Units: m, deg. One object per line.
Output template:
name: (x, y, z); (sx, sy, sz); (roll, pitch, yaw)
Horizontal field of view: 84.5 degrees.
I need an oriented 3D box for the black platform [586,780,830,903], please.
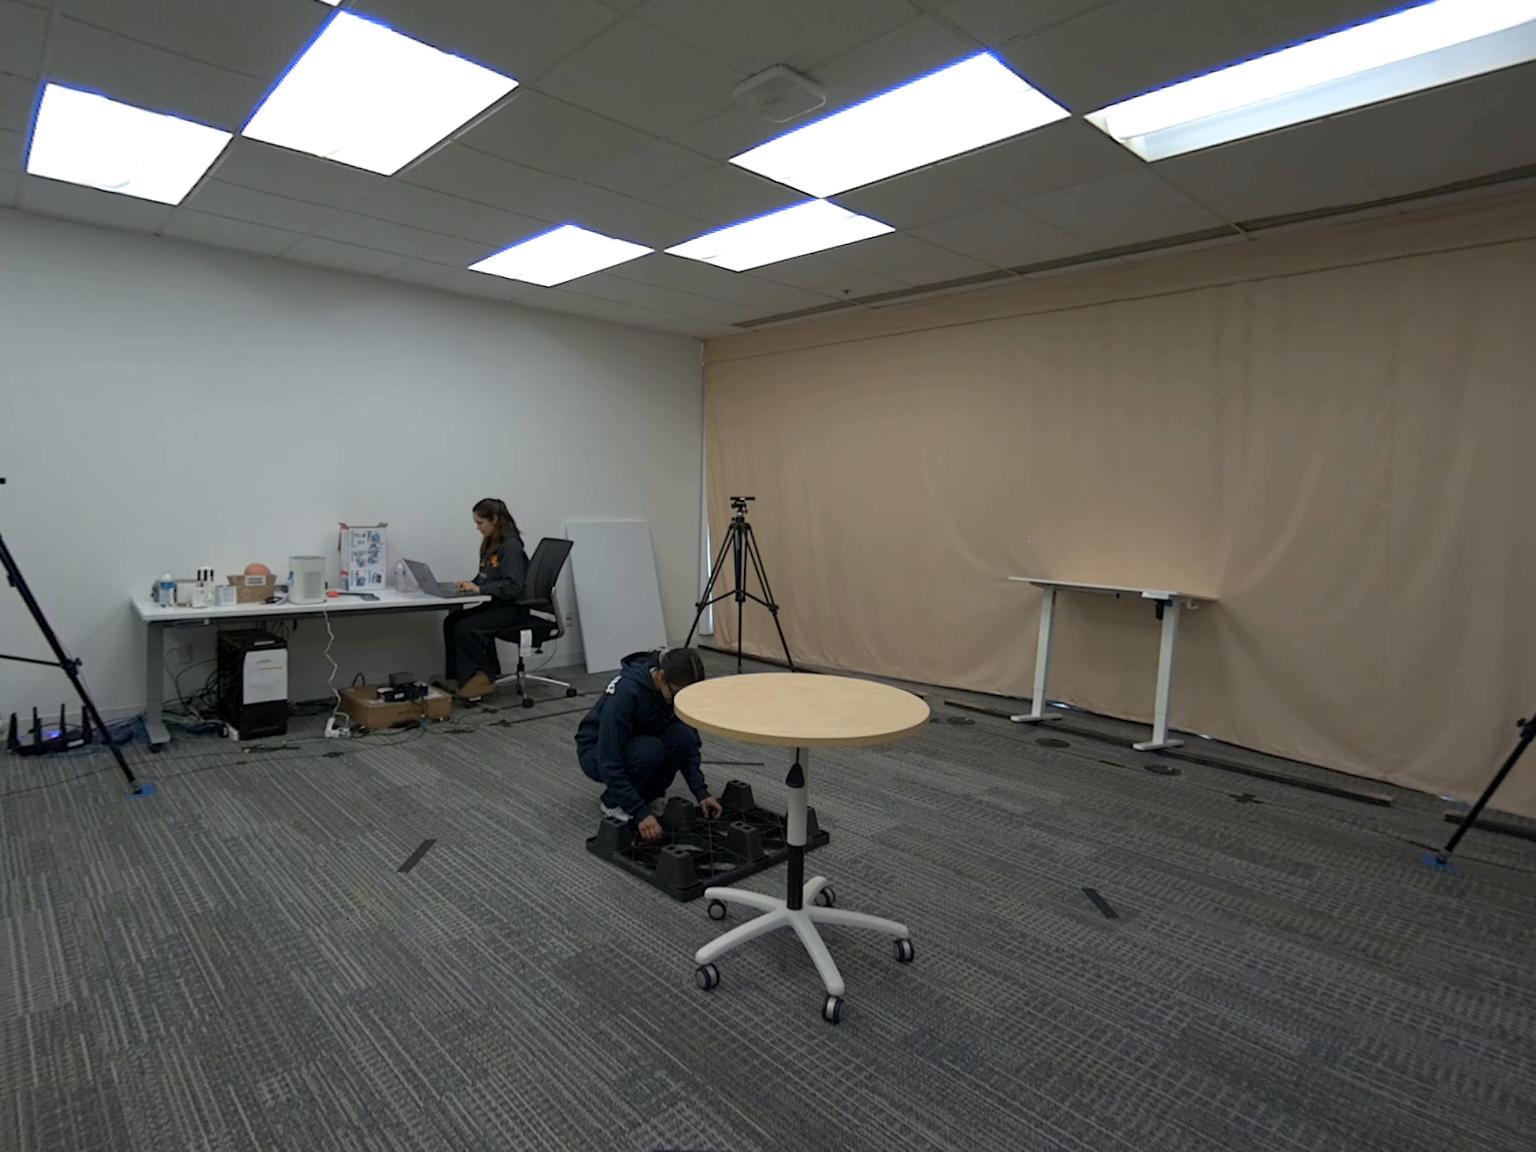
black platform: (-0.237, 1.017, 3.359); (0.621, 0.143, 0.787); (6, 7, 44)
